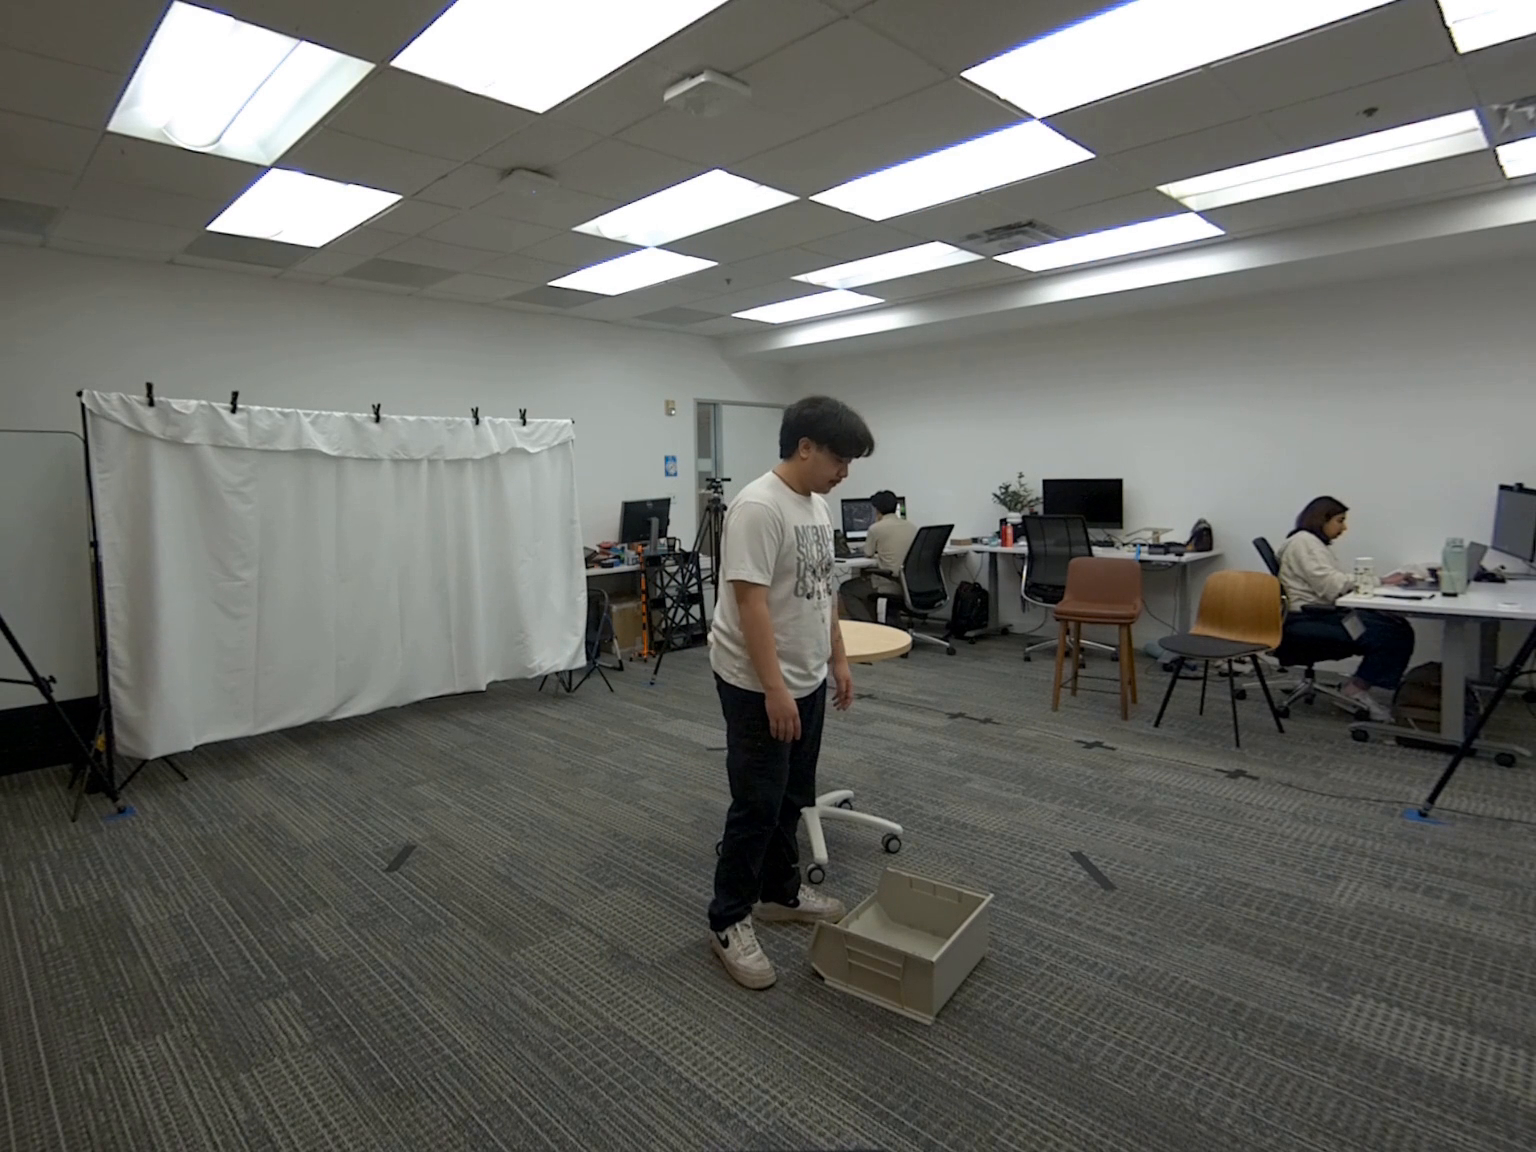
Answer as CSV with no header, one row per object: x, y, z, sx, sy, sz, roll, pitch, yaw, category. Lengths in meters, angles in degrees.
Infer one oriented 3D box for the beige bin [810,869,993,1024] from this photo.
0.381,1.020,2.433,0.388,0.188,0.412,4,7,36,beige bin
